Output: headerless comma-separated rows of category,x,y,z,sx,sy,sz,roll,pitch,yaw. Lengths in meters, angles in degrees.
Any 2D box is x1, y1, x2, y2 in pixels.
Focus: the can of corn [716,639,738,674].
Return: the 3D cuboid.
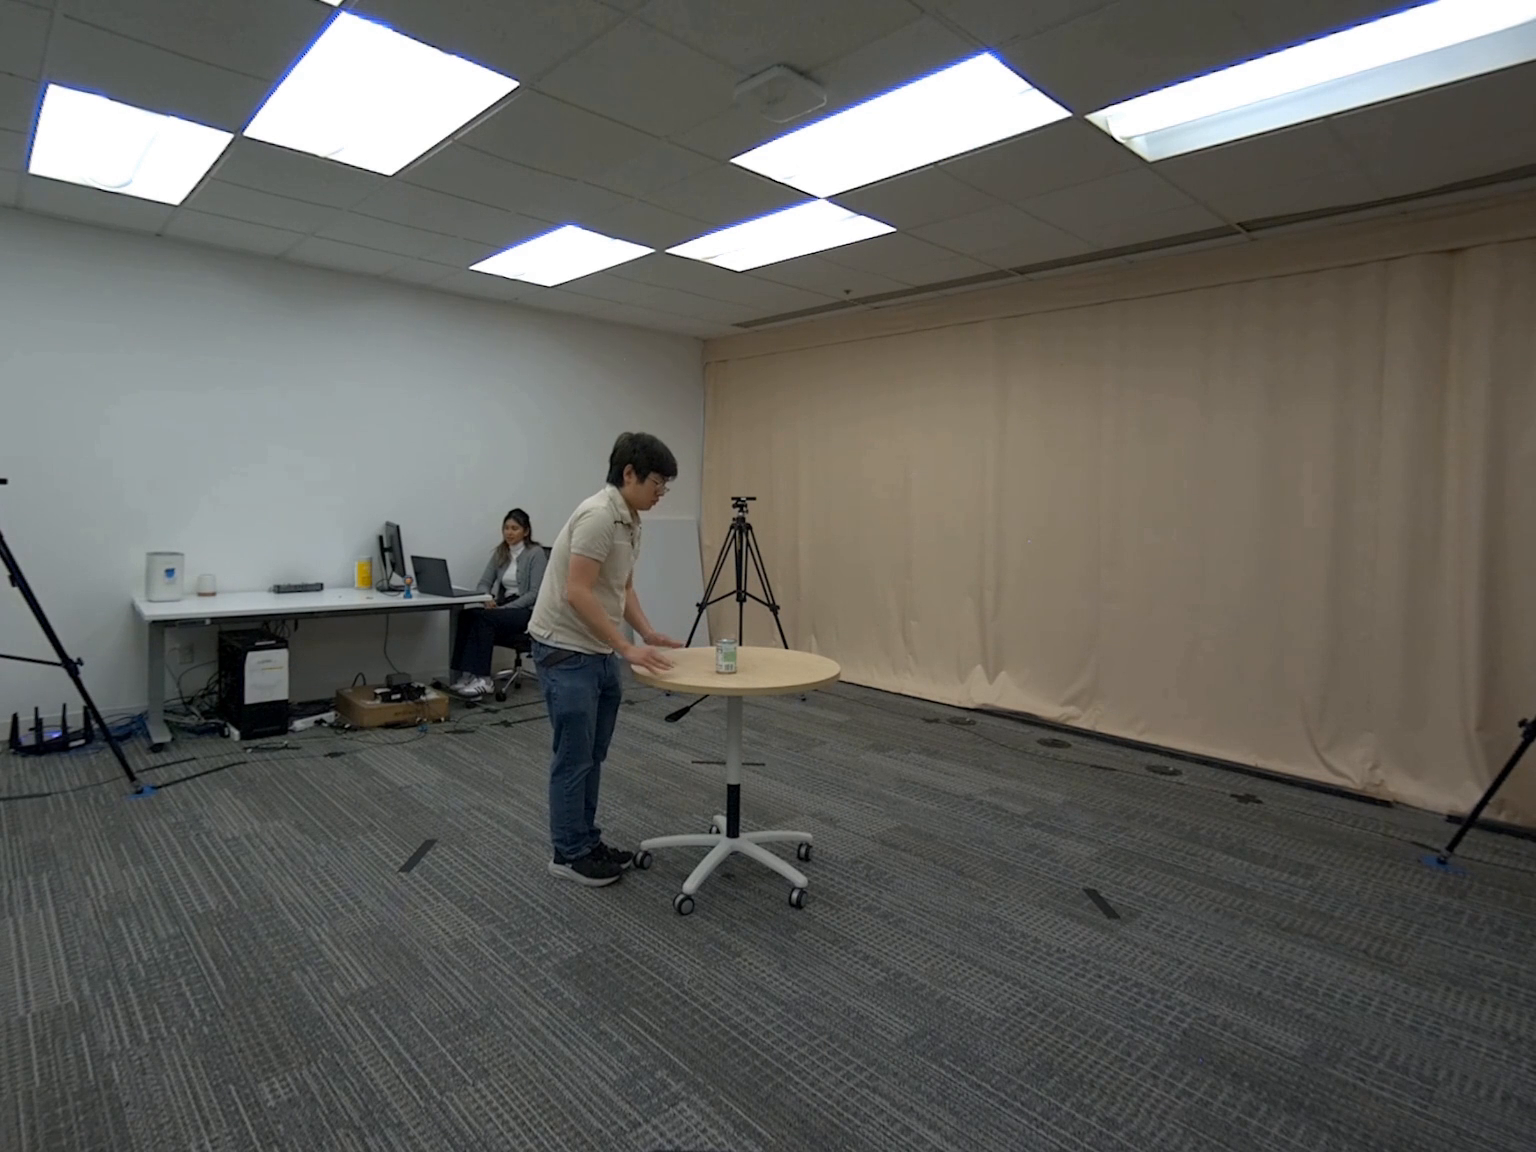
can of corn,-0.156,0.285,2.938,0.074,0.110,0.075,0,9,-1
